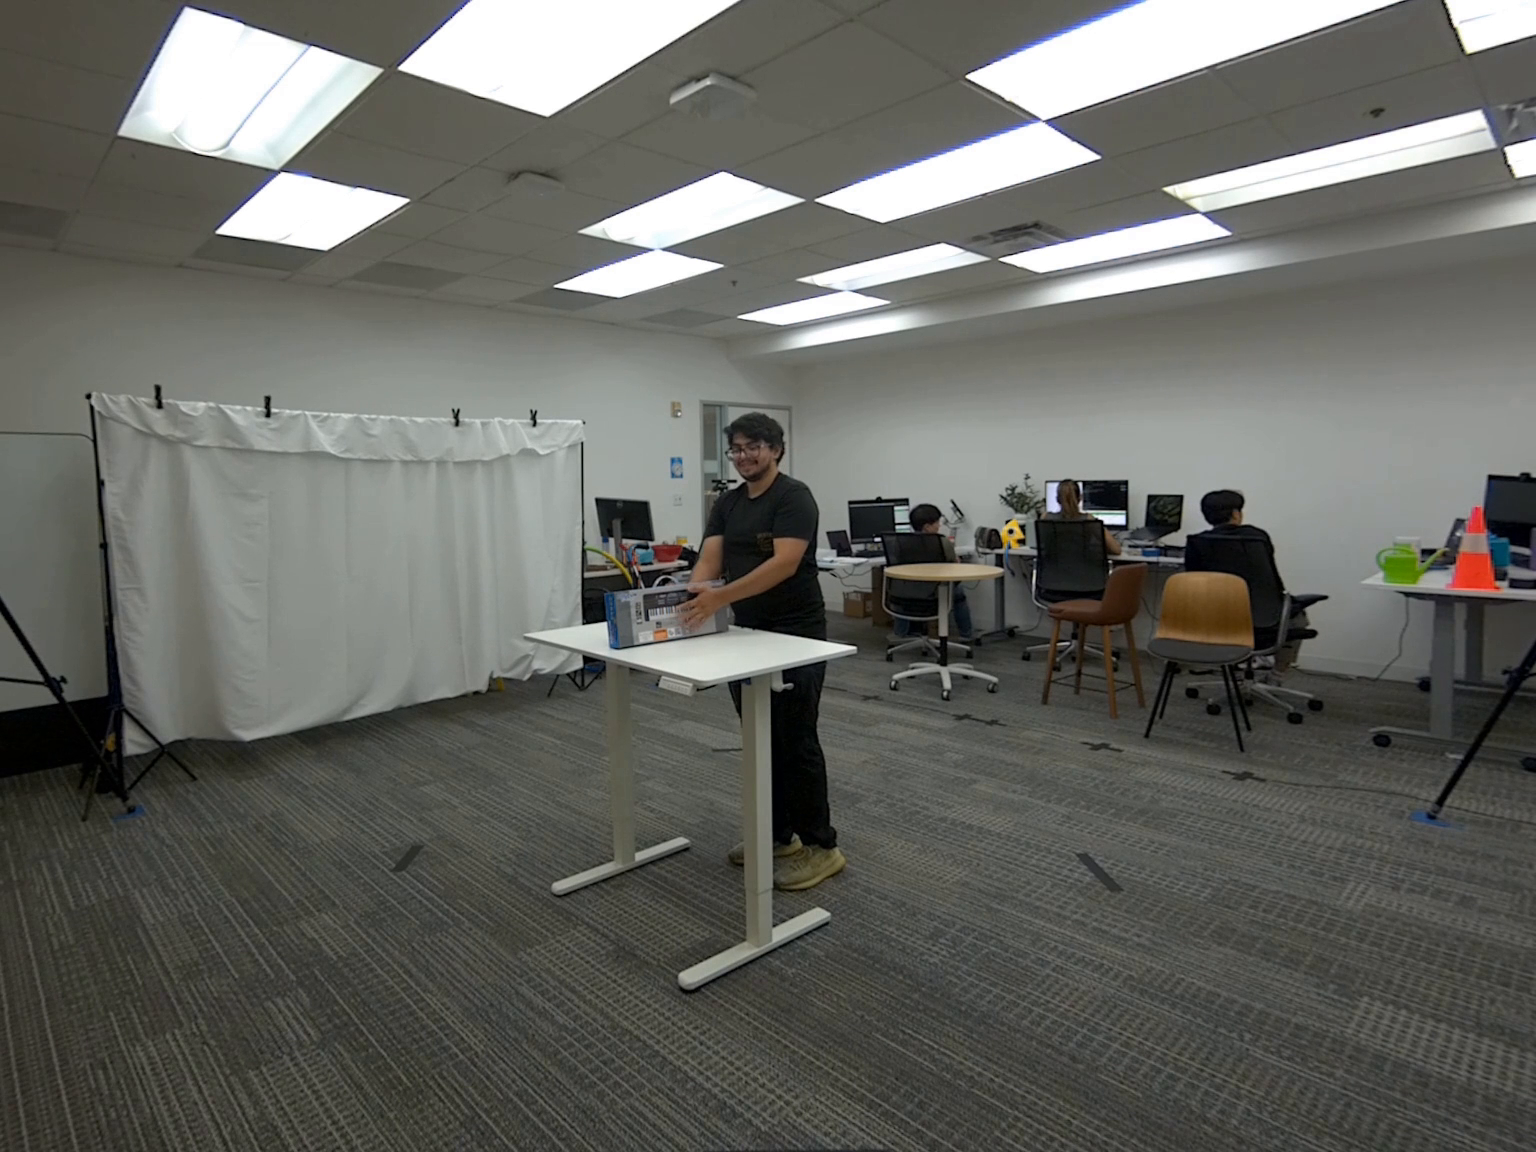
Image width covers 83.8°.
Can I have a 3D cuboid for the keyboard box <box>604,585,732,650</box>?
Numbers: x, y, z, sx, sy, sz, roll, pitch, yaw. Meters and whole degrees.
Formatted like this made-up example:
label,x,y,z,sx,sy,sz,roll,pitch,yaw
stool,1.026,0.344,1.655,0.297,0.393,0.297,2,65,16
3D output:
label,x,y,z,sx,sy,sz,roll,pitch,yaw
keyboard box,-0.323,0.122,2.777,0.426,0.176,0.060,-6,-1,-39
